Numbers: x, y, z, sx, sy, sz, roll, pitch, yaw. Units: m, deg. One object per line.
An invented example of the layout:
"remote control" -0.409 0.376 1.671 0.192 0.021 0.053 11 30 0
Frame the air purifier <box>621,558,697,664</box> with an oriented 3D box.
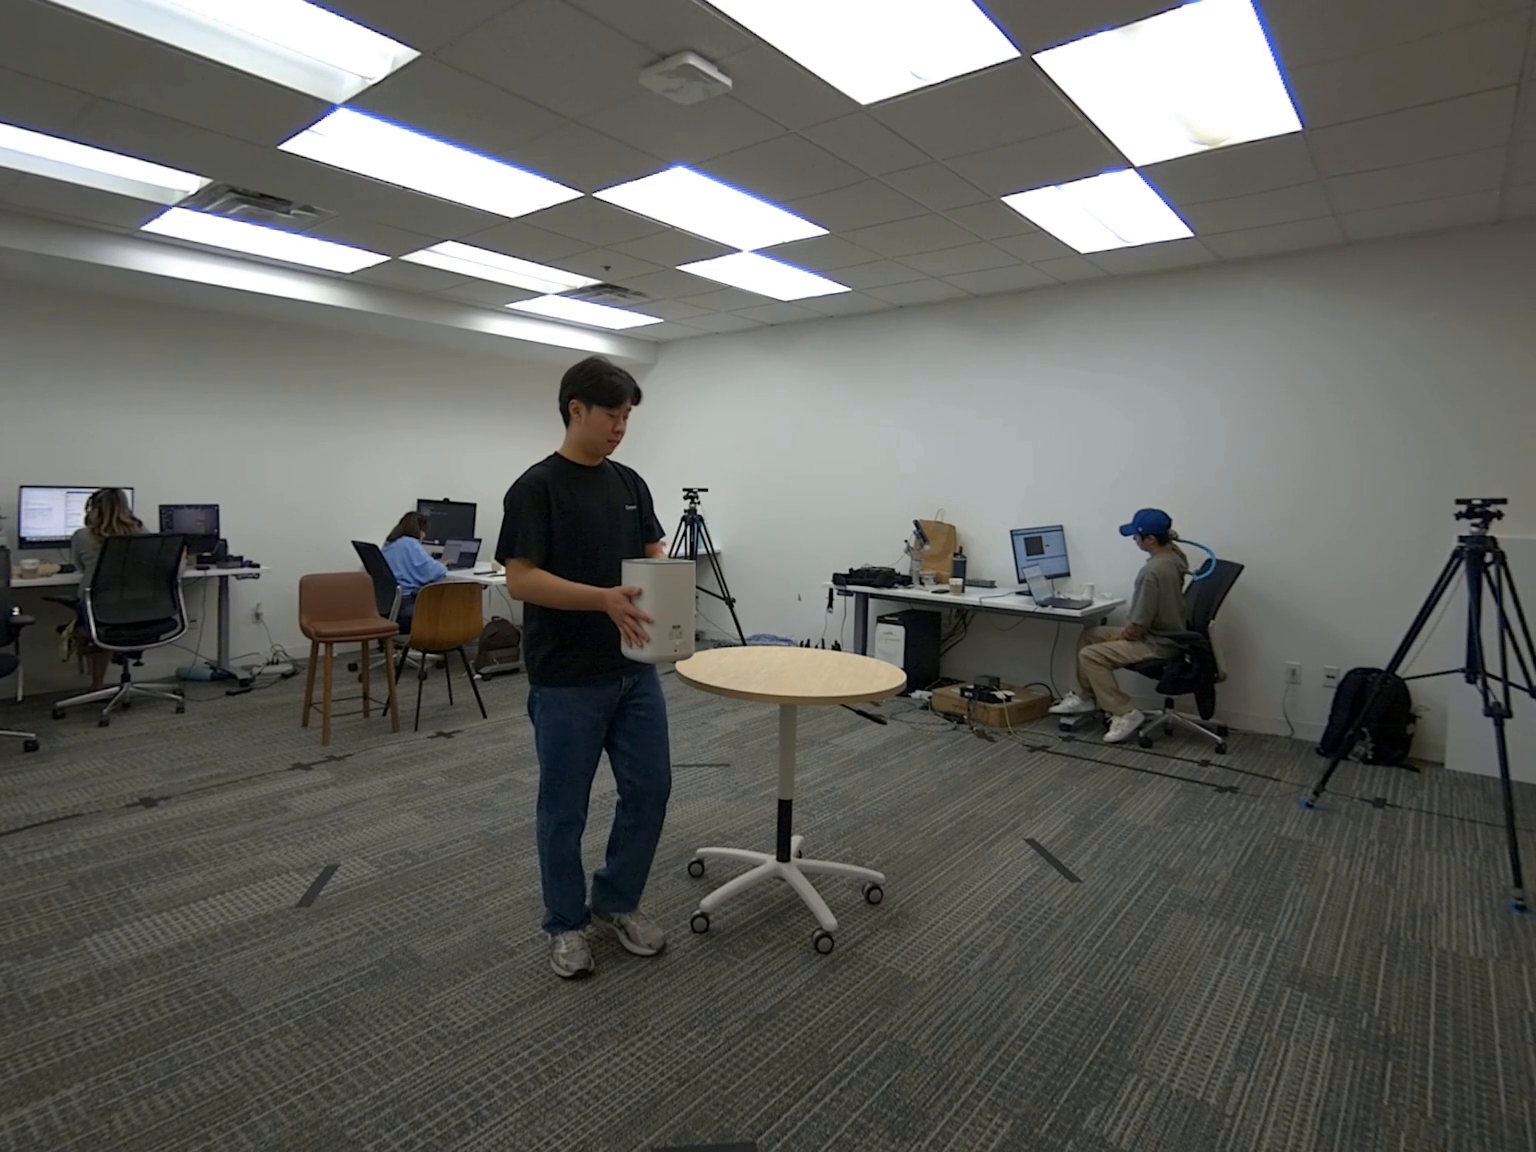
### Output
"air purifier" -0.306 0.092 2.273 0.166 0.265 0.177 -1 2 -39
